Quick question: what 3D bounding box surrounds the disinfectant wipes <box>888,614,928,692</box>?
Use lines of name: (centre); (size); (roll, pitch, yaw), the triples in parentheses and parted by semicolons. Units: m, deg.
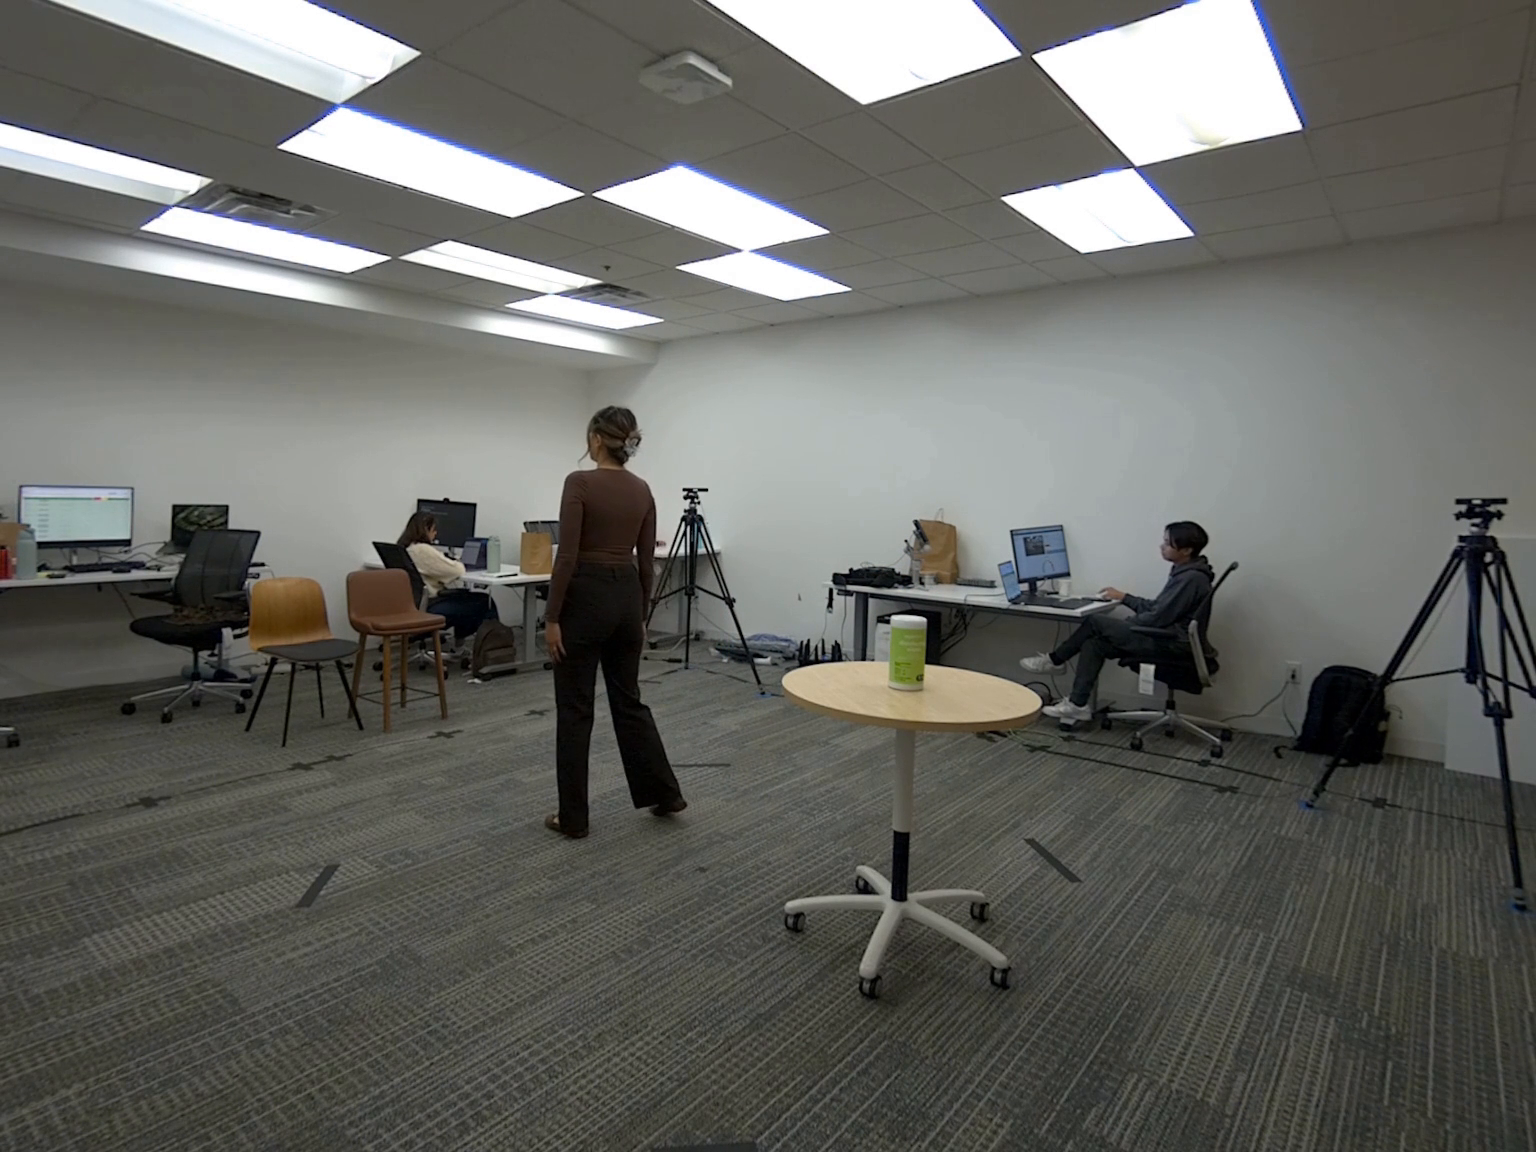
disinfectant wipes: (0.419, 0.233, 2.584); (0.117, 0.217, 0.118); (2, 3, -2)
